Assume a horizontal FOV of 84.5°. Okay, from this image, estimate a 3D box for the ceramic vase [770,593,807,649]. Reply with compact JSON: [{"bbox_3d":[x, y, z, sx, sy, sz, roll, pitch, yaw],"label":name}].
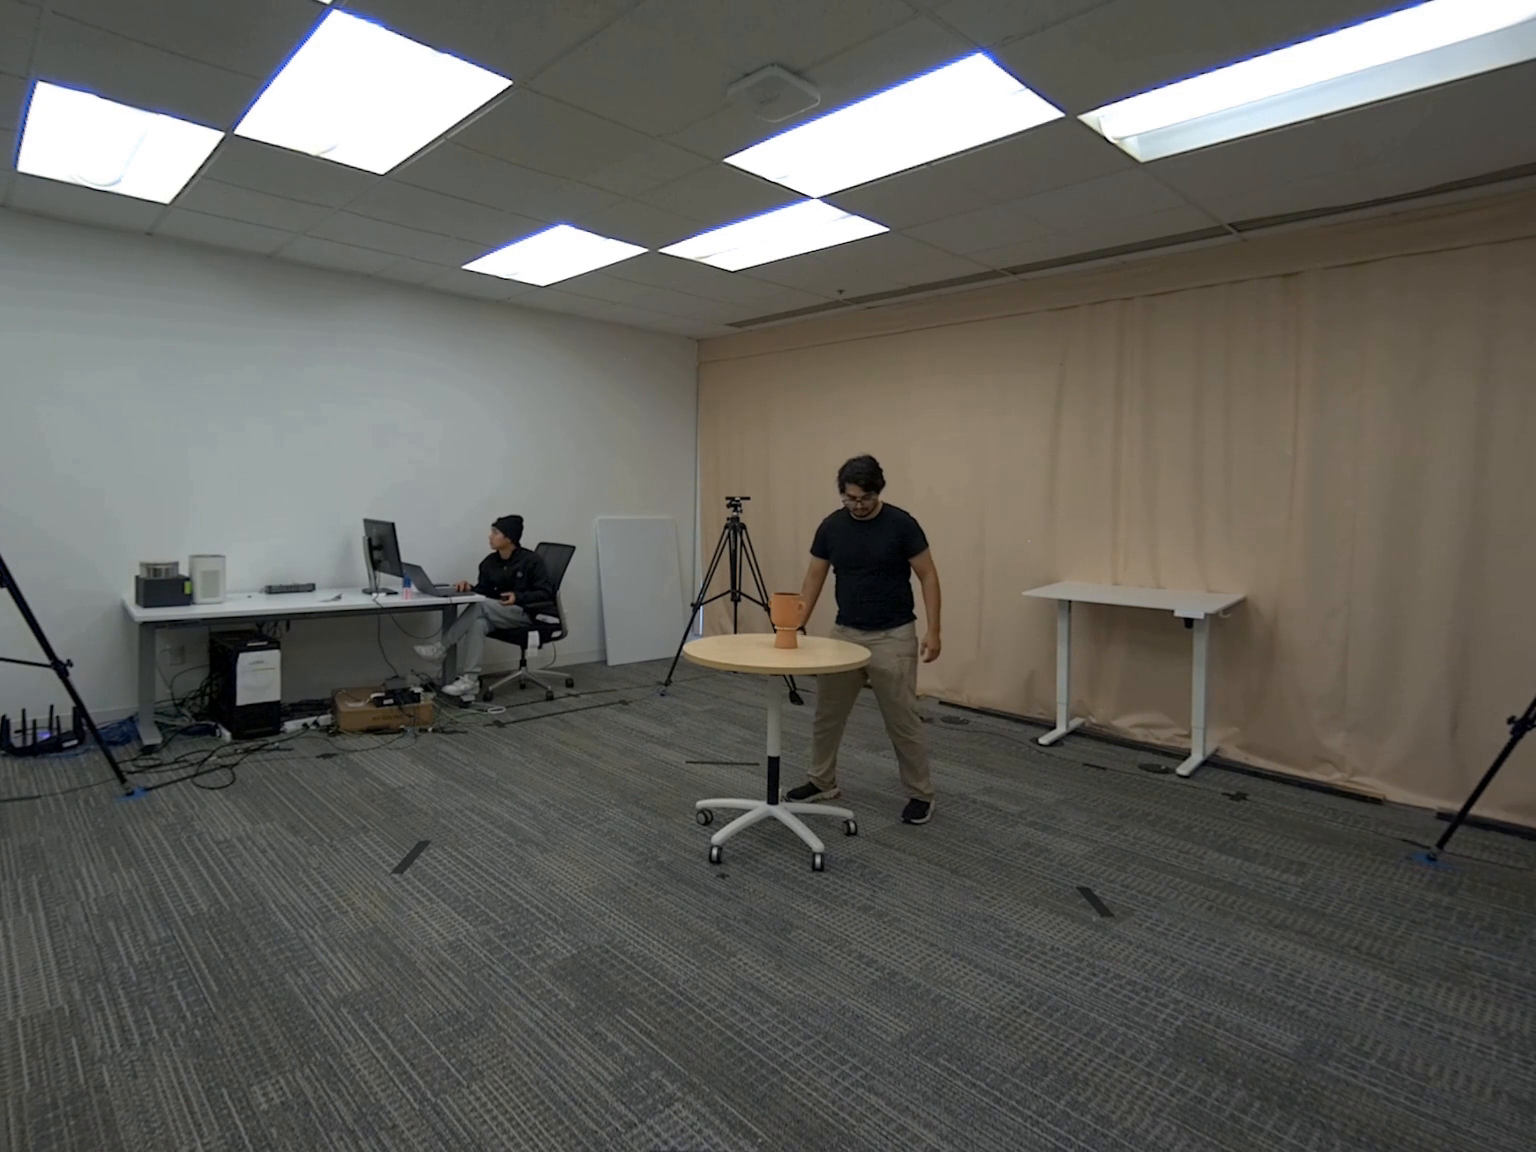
[{"bbox_3d":[0.069,0.186,3.495,0.133,0.219,0.160,2,3,-10],"label":"ceramic vase"}]
